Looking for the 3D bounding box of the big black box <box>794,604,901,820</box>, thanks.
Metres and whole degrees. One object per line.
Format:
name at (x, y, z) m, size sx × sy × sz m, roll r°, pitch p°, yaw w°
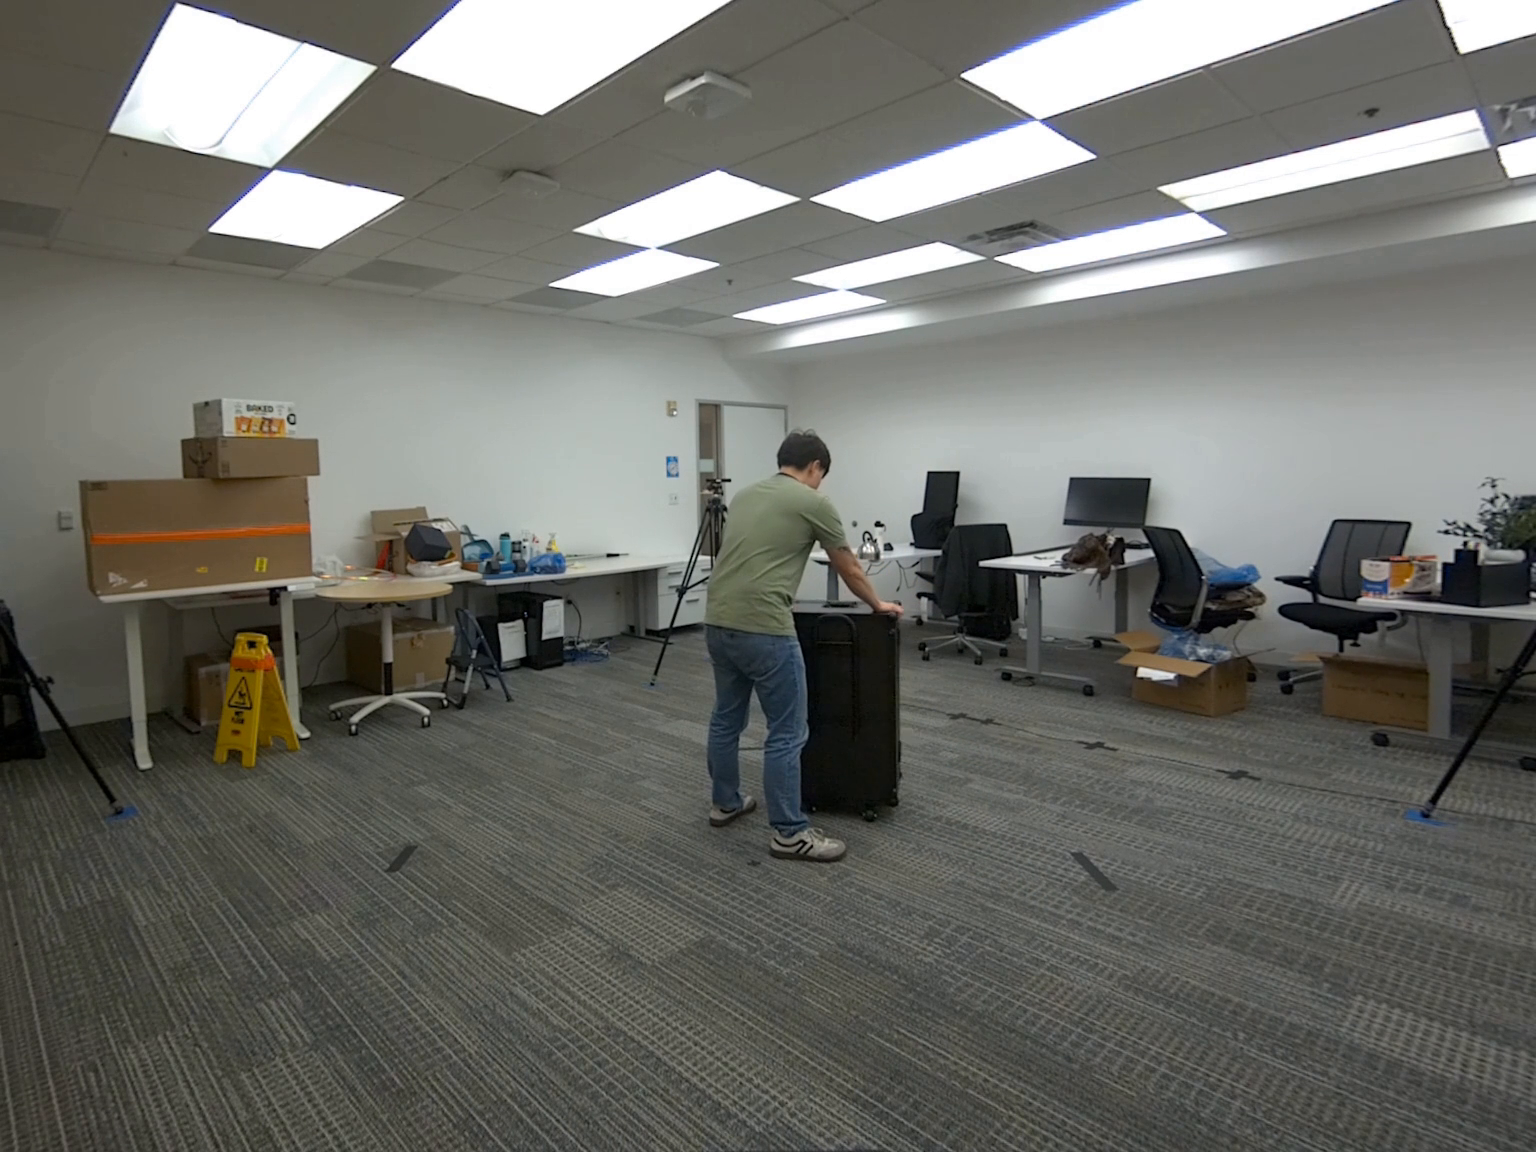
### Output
big black box at (0.320, 0.556, 3.632) m, size 0.529 × 0.858 × 0.392 m, roll 0°, pitch 5°, yaw 14°
